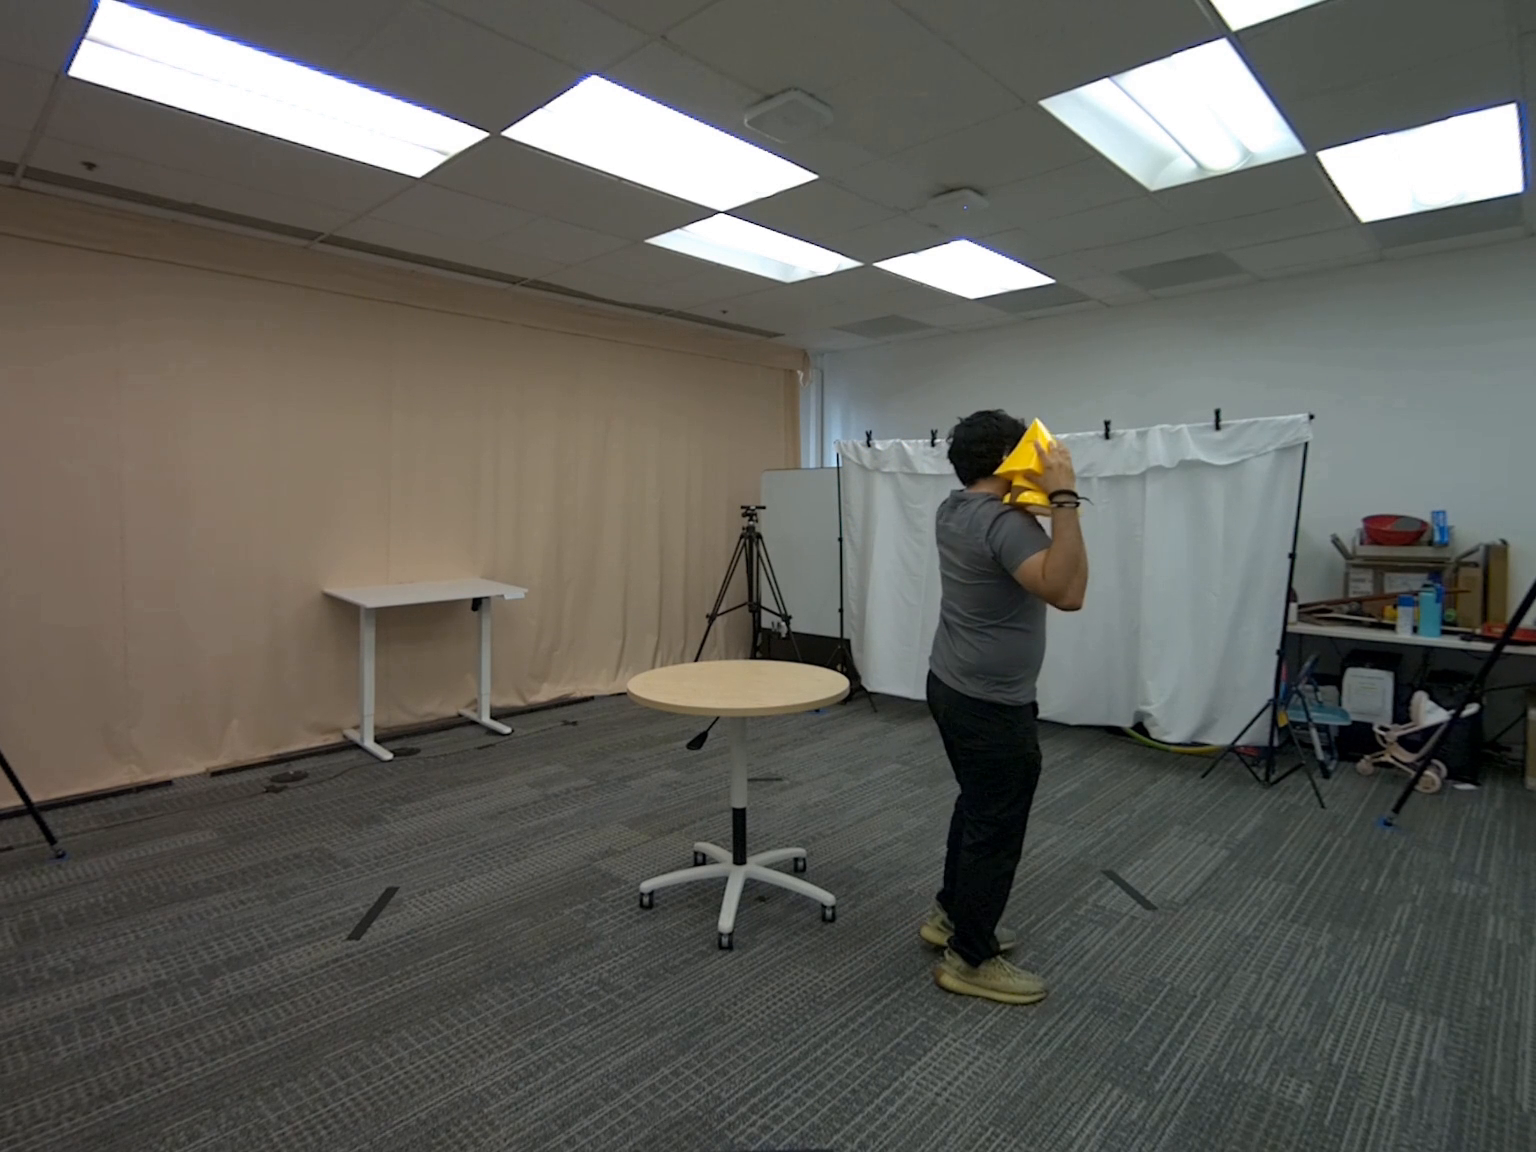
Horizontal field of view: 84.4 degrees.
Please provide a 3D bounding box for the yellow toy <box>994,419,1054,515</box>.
[{"bbox_3d":[0.729,-0.287,2.224,0.191,0.231,0.207,14,-1,-10],"label":"yellow toy"}]
